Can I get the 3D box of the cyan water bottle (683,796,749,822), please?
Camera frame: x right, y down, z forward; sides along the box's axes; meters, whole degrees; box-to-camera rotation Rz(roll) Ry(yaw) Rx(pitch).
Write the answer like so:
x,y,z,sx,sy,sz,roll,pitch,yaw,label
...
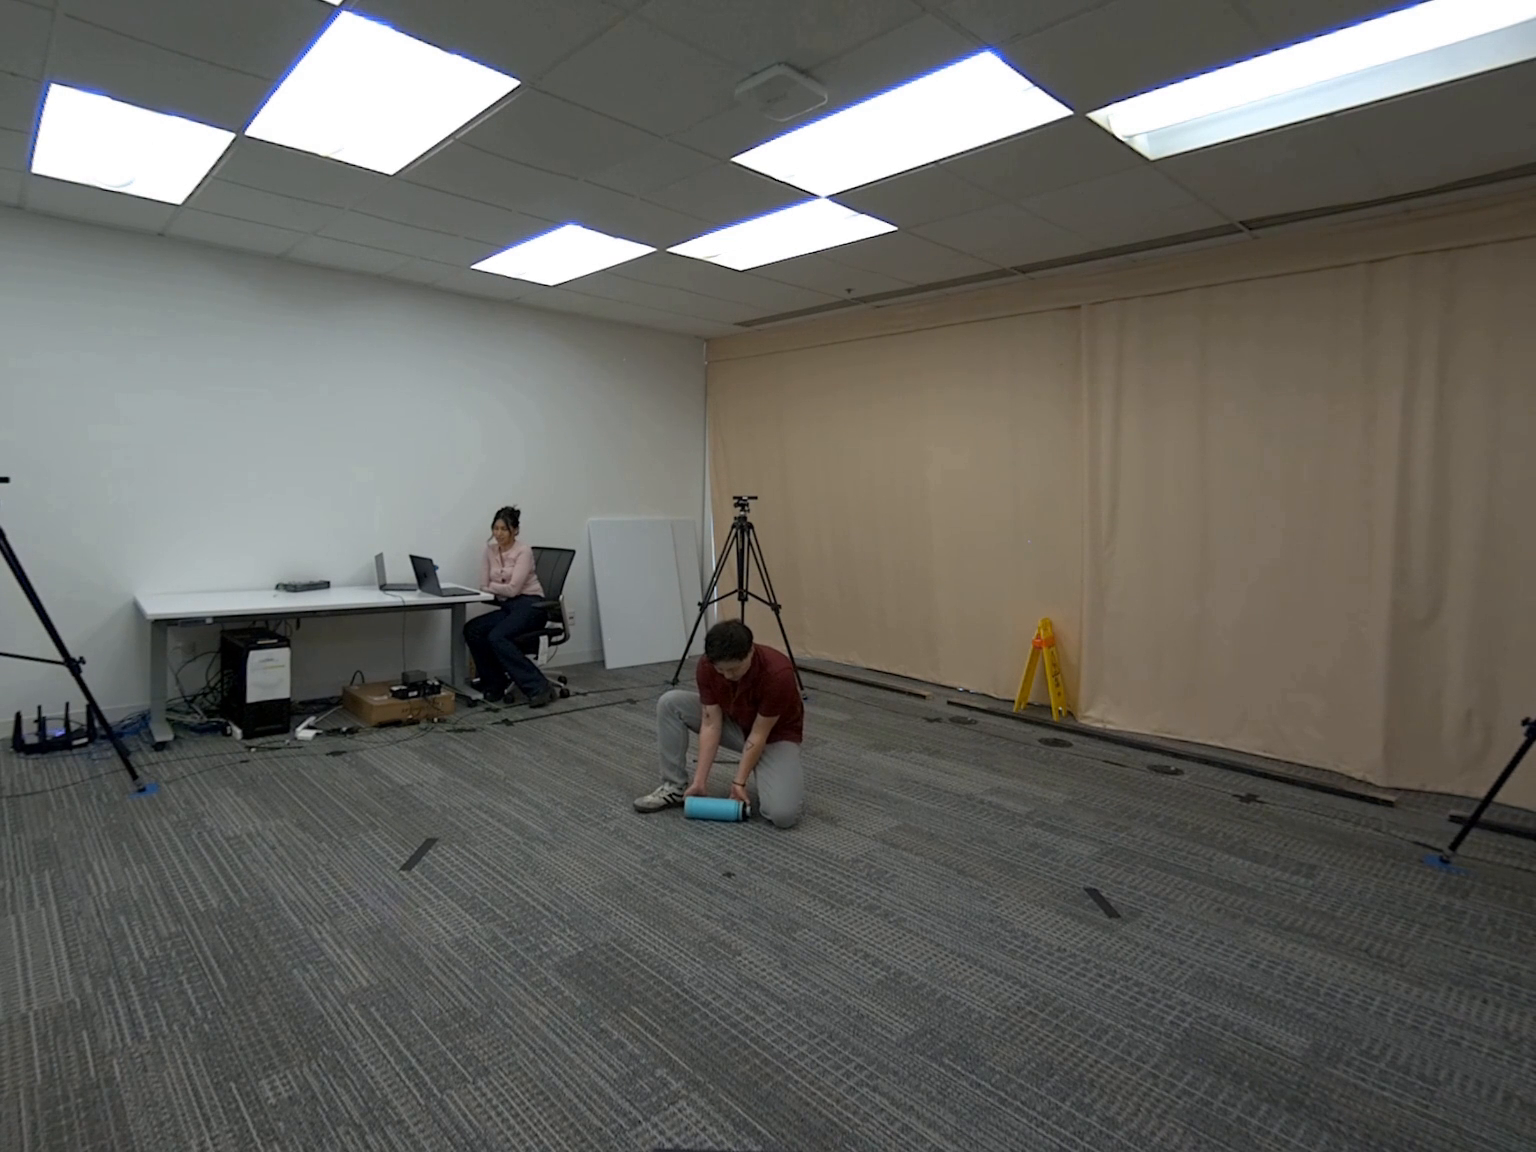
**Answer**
x,y,z,sx,sy,sz,roll,pitch,yaw,label
-0.233,1.008,3.647,0.285,0.092,0.092,2,4,6,cyan water bottle
